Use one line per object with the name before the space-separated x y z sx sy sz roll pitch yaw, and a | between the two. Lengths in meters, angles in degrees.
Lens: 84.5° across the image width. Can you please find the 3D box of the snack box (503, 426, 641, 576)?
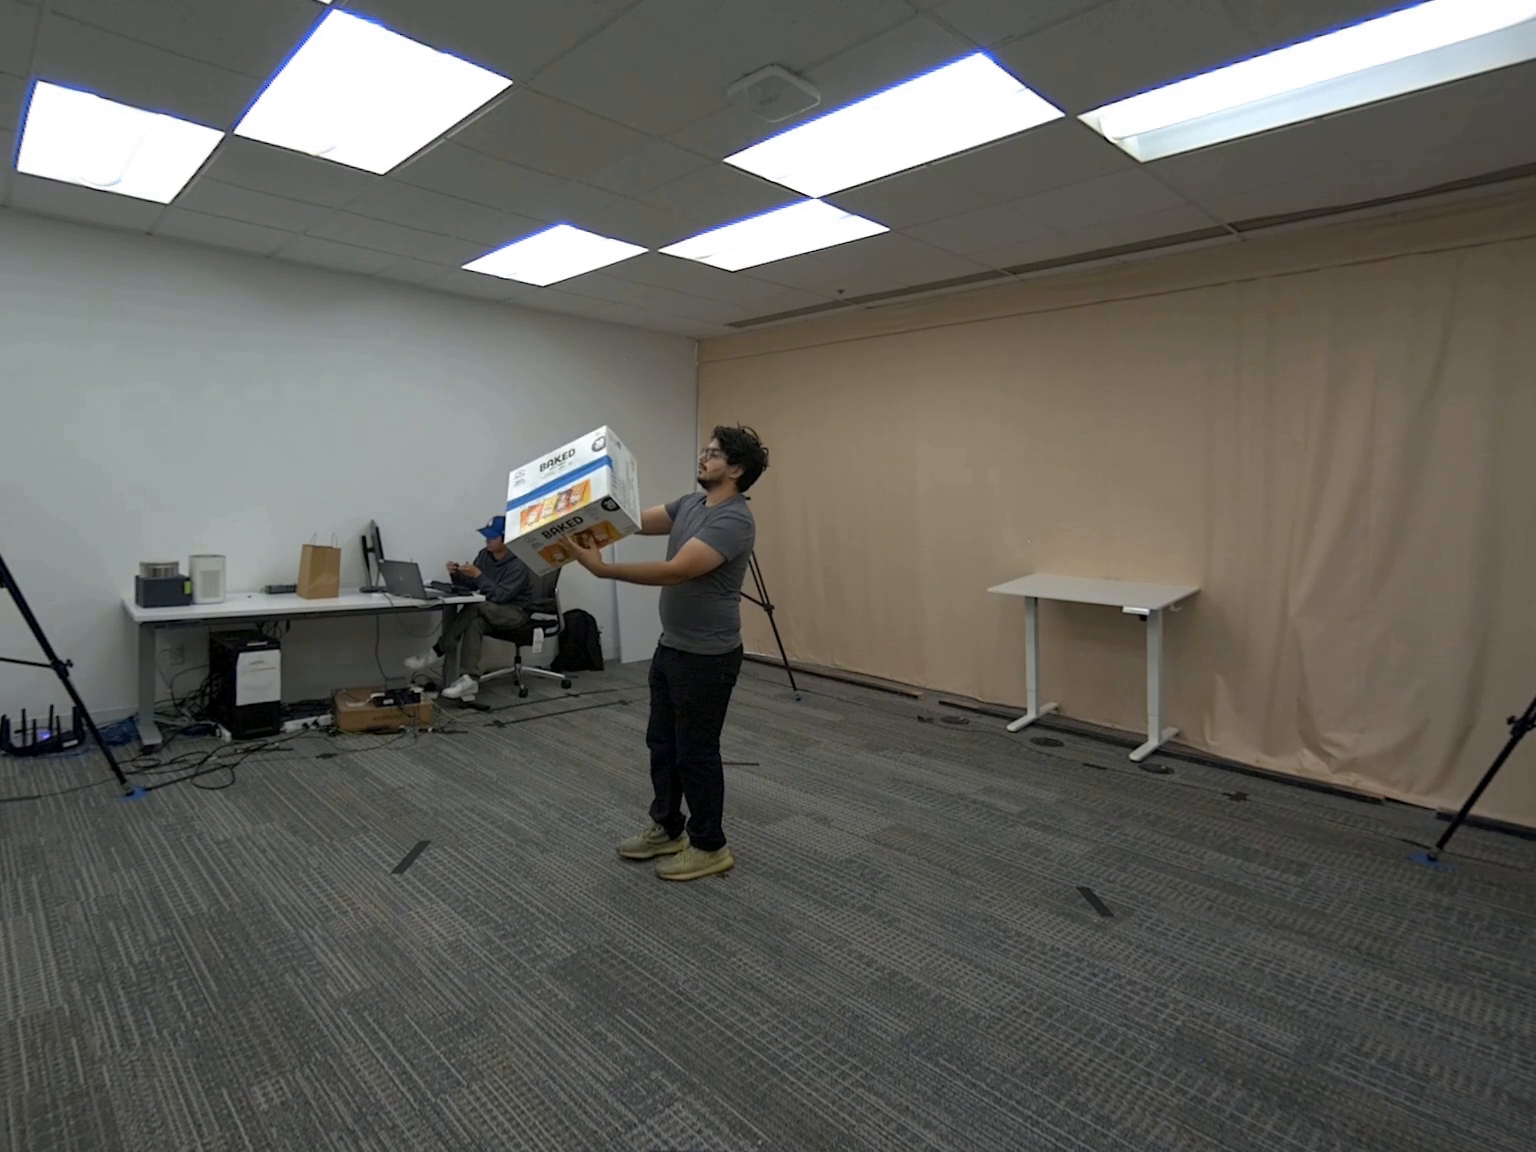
snack box | -0.674 -0.258 2.850 0.408 0.349 0.199 -22 -42 15
